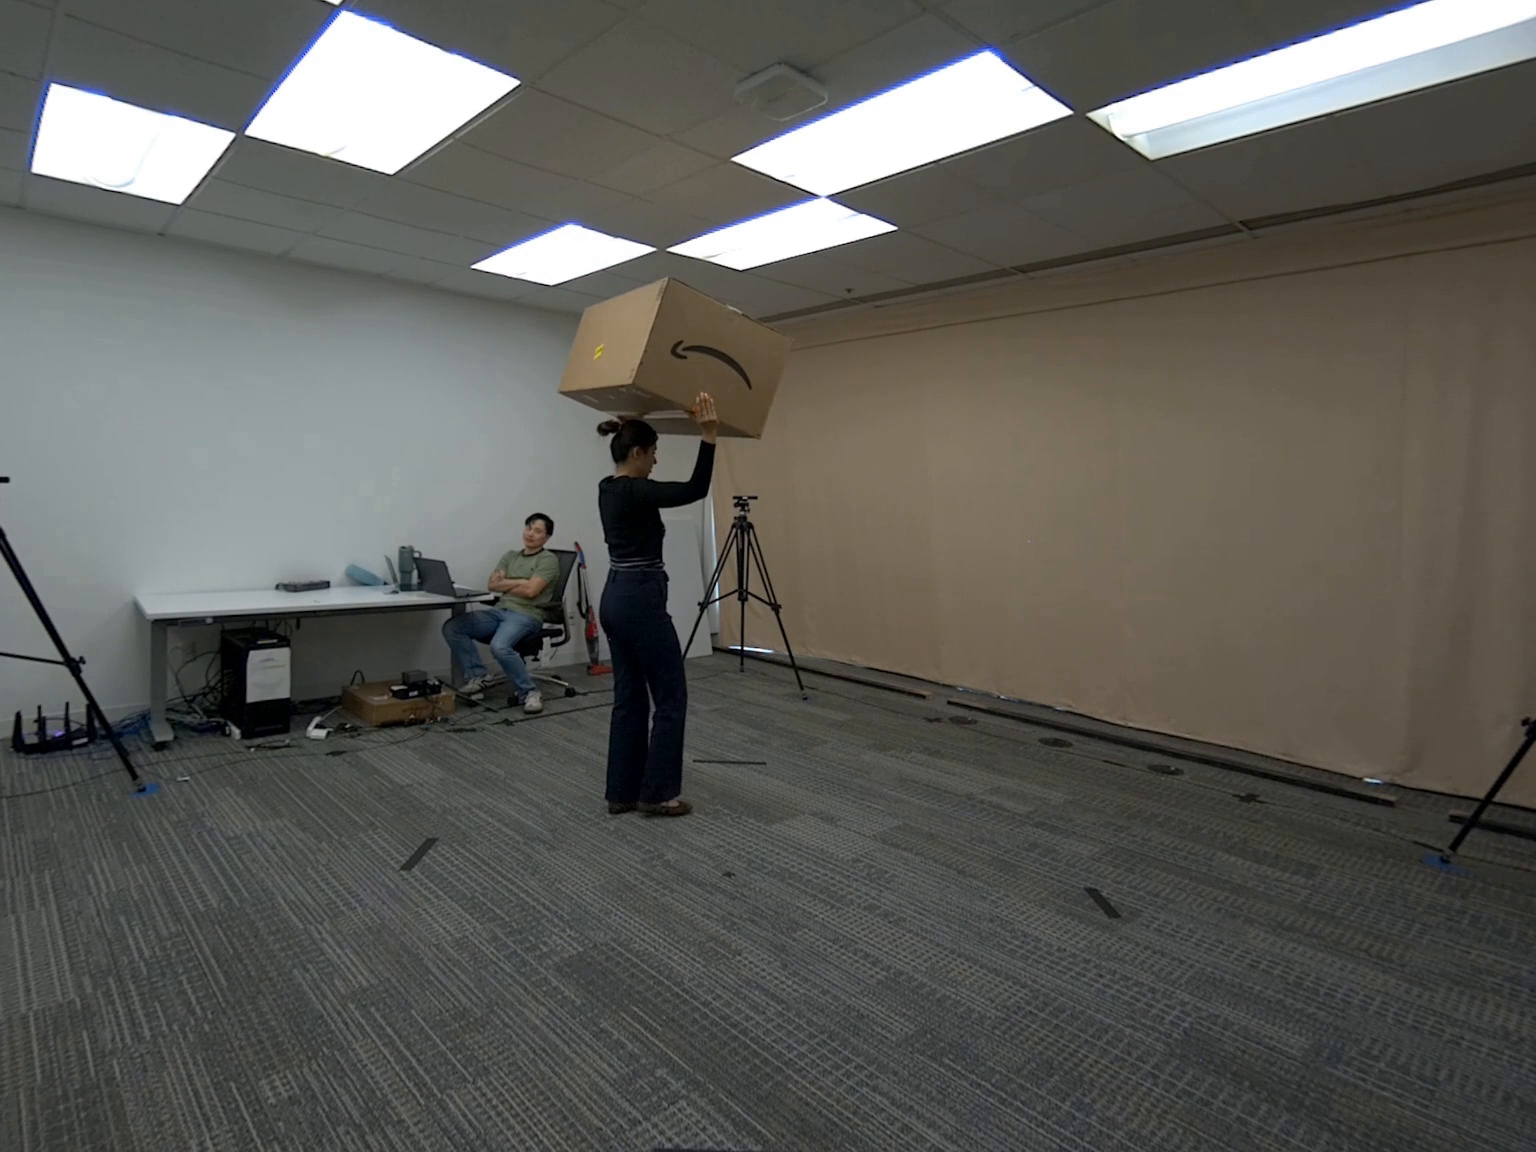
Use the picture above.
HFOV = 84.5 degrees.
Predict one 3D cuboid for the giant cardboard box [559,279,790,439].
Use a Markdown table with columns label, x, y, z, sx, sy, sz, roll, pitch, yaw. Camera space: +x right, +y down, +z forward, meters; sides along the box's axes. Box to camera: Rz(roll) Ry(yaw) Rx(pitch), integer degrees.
| label | x | y | z | sx | sy | sz | roll | pitch | yaw |
| --- | --- | --- | --- | --- | --- | --- | --- | --- | --- |
| giant cardboard box | -0.455 | -0.894 | 3.645 | 0.563 | 0.426 | 1.051 | 18 | 0 | -30 |
